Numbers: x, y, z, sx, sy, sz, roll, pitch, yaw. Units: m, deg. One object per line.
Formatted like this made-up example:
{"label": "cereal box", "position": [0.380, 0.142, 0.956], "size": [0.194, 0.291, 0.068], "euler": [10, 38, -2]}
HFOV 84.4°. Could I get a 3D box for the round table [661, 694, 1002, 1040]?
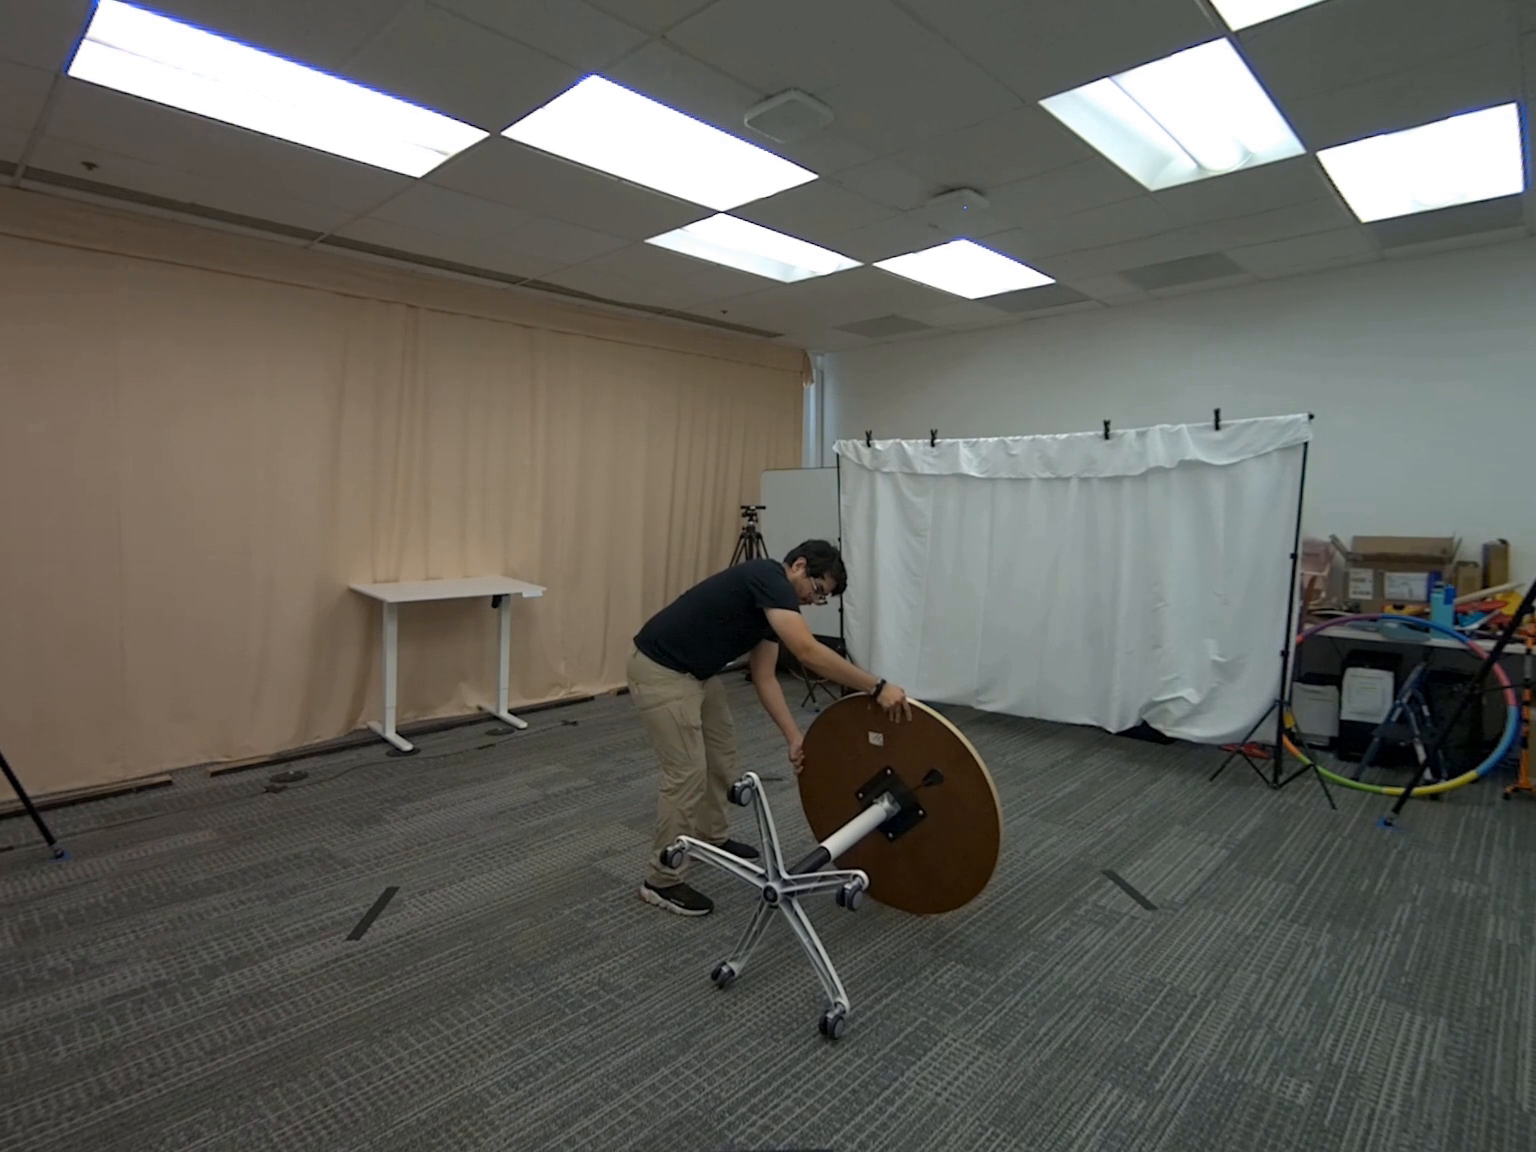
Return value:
{"label": "round table", "position": [0.204, 0.828, 2.573], "size": [0.811, 0.780, 0.766], "euler": [3, 11, 38]}
